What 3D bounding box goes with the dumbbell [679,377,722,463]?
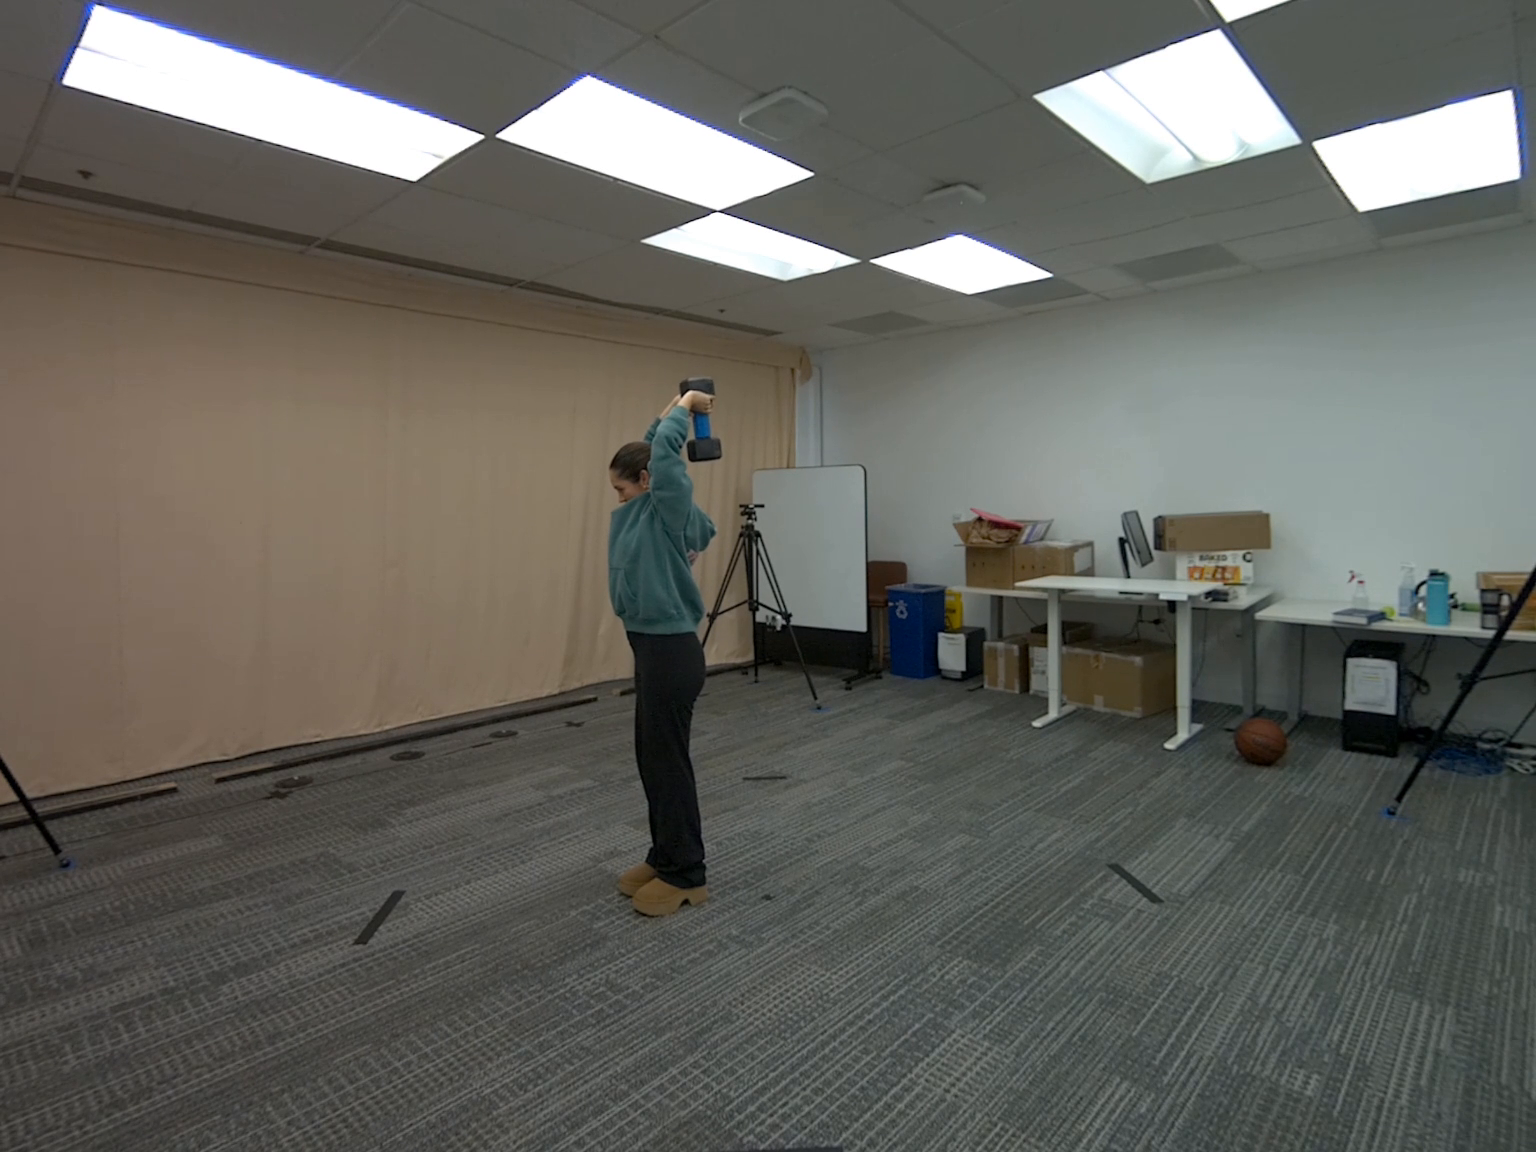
[{"bbox_3d":[-0.239,-0.554,2.988,0.122,0.292,0.110,-9,5,-8],"label":"dumbbell"}]
